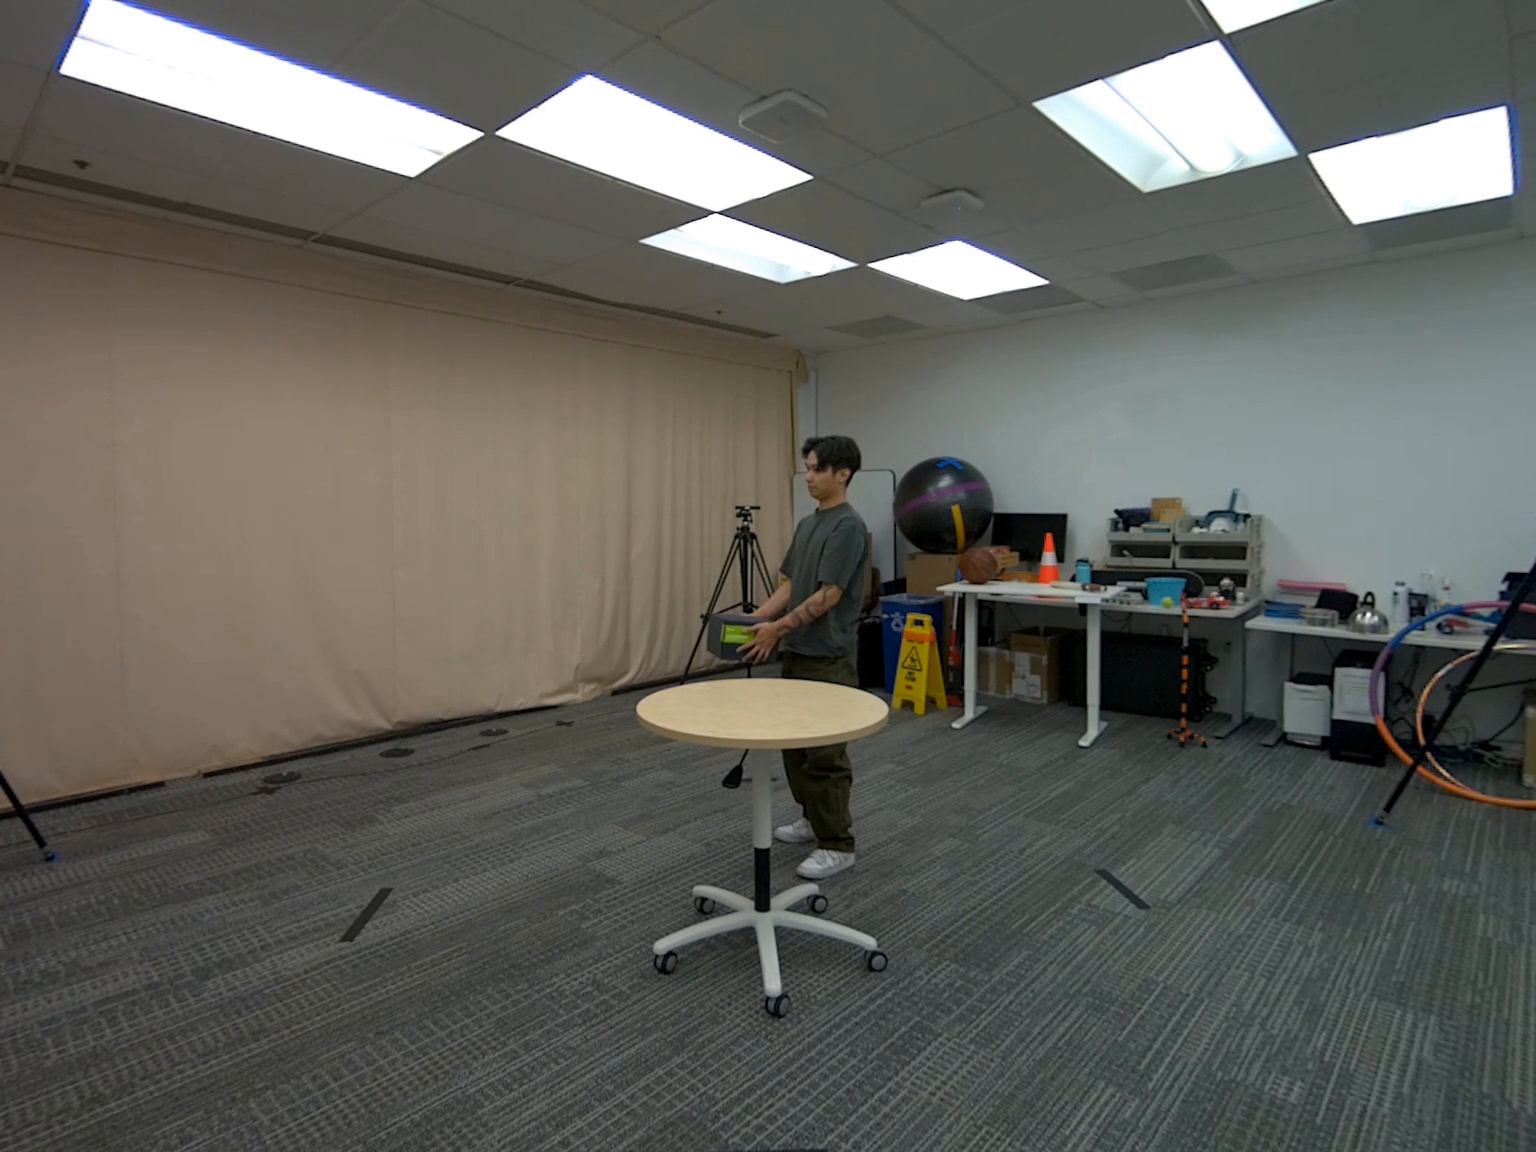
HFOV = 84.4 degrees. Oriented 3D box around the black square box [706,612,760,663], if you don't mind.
[{"bbox_3d":[-0.091,0.242,3.322,0.225,0.156,0.220,6,2,-12],"label":"black square box"}]
